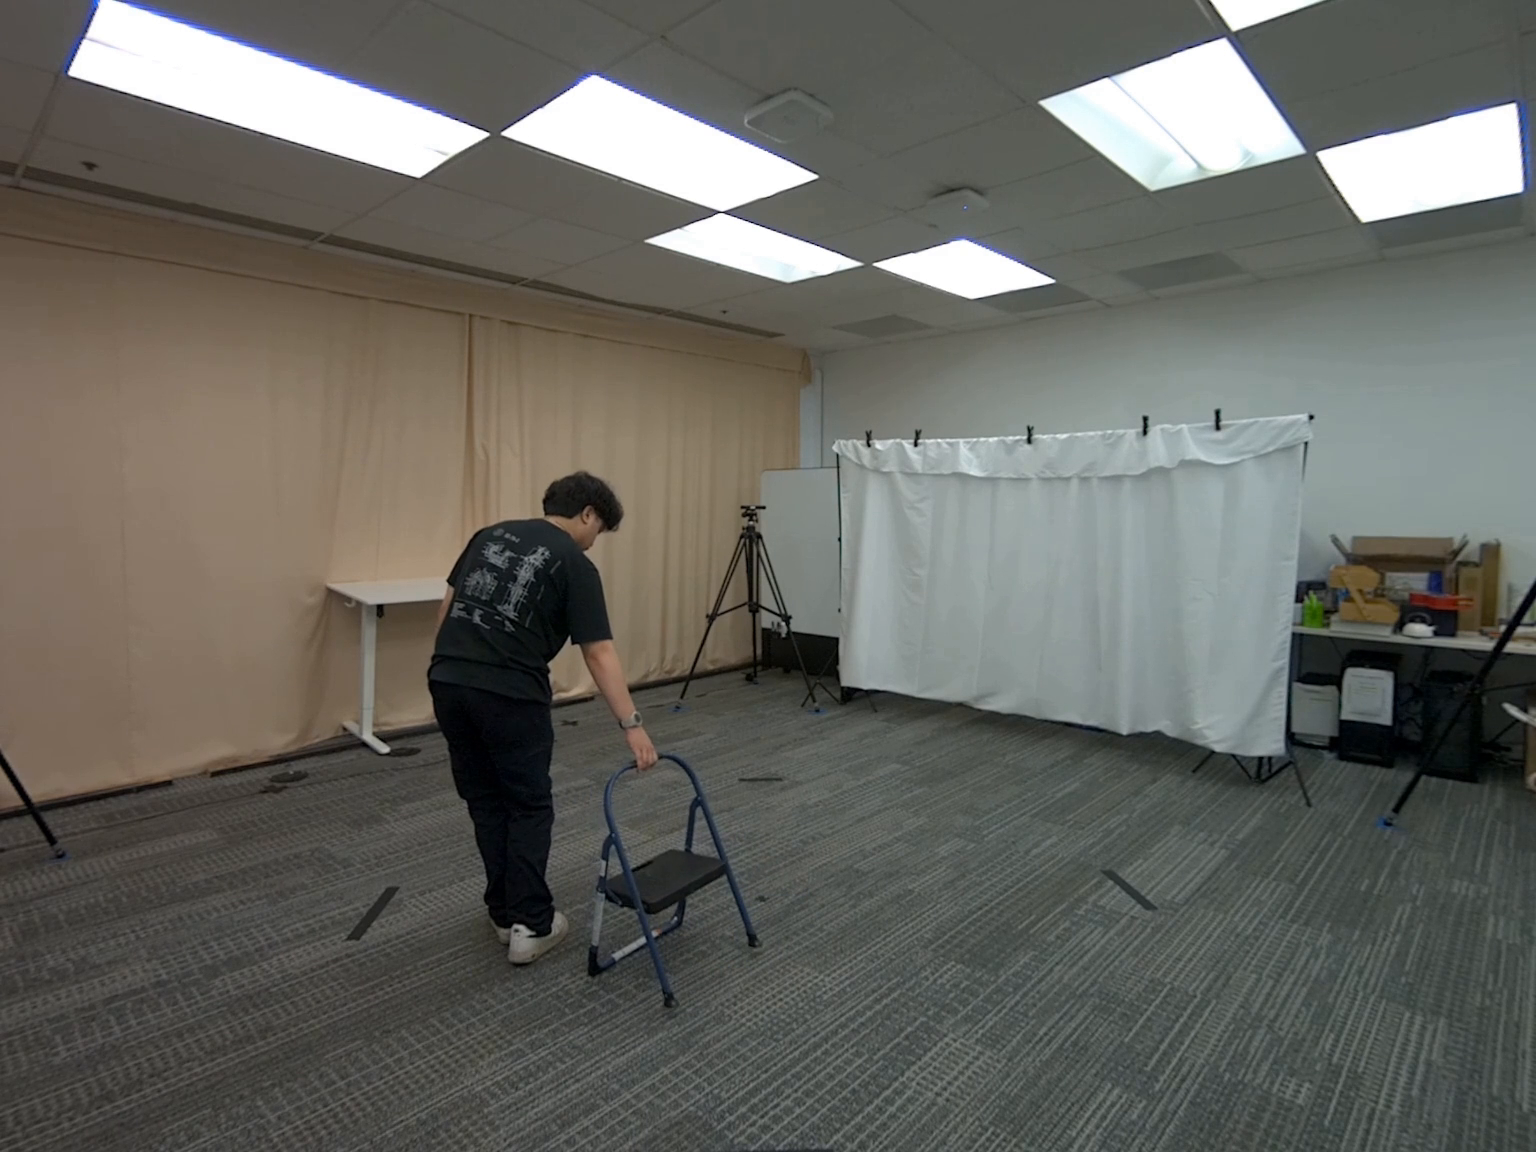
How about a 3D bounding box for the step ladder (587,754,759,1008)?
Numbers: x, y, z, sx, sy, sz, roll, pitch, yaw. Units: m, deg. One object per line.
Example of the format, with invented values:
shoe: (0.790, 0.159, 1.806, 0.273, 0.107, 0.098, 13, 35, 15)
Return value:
step ladder: (-0.297, 0.867, 2.552, 0.359, 0.606, 0.418, -5, 0, 36)
